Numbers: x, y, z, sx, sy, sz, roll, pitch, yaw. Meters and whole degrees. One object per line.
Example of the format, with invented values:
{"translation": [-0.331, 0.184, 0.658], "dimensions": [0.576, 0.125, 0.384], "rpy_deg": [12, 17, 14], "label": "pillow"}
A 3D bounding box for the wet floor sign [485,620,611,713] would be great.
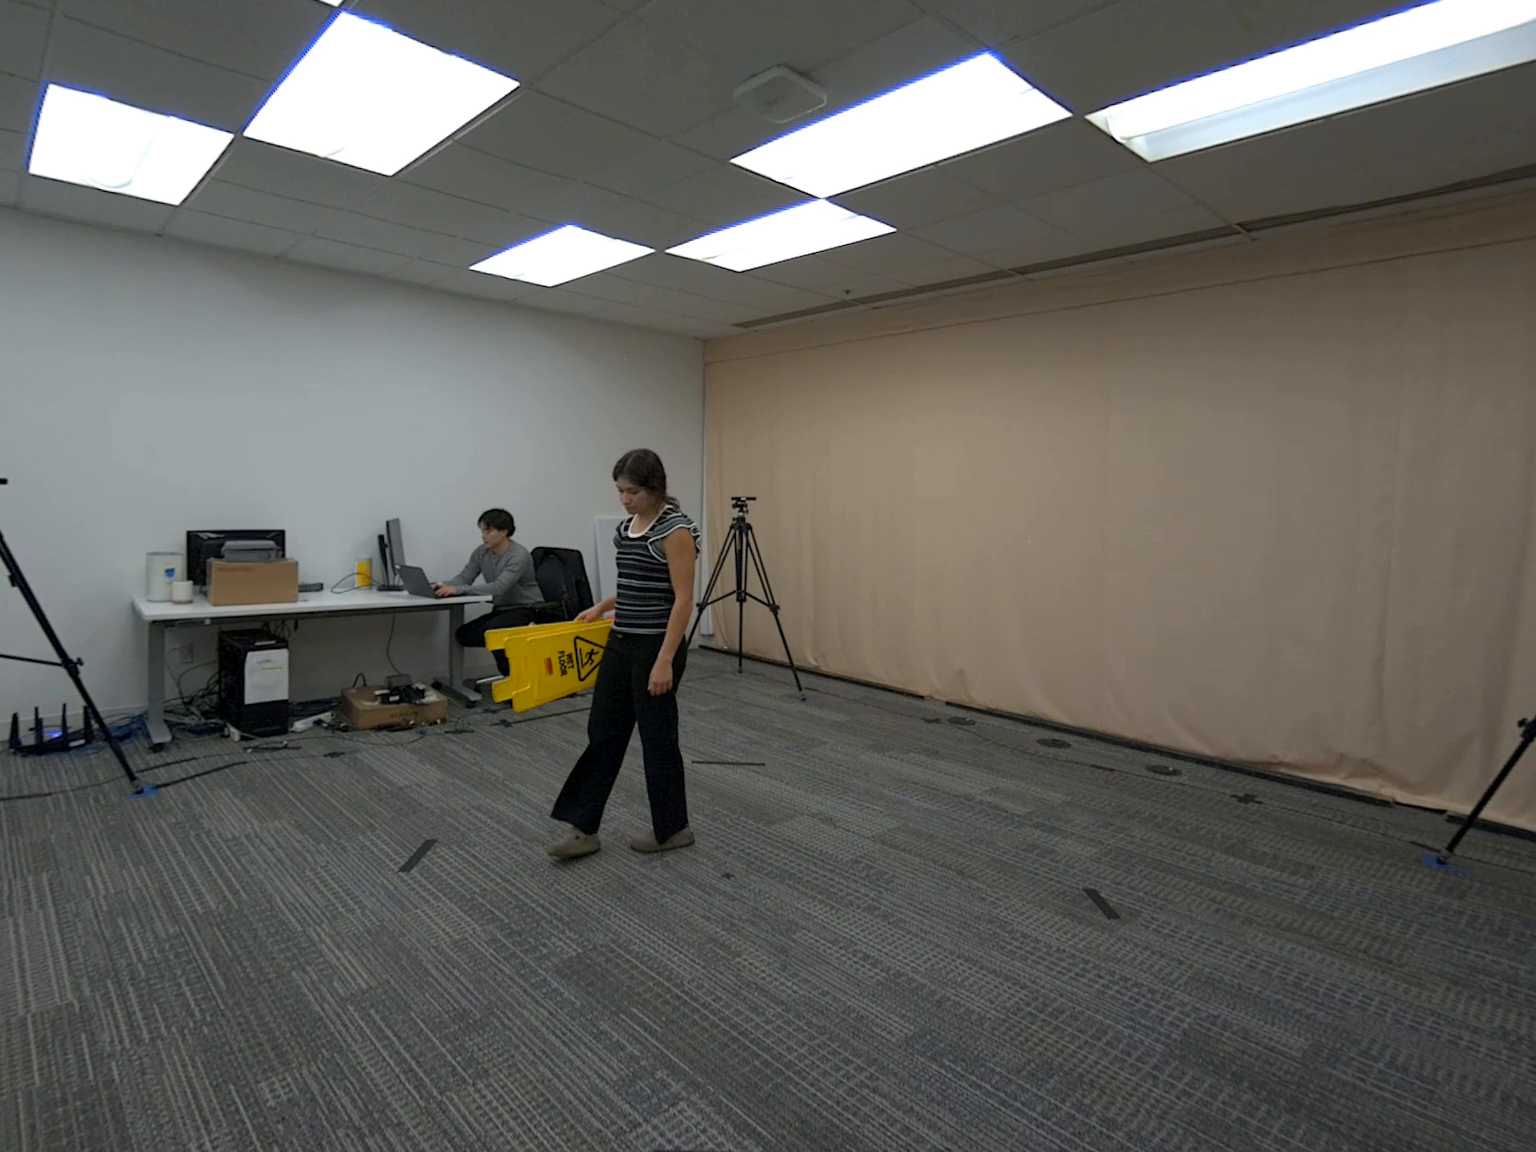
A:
{"translation": [-0.763, 0.310, 3.352], "dimensions": [0.634, 0.281, 0.296], "rpy_deg": [-10, 6, -34], "label": "wet floor sign"}
